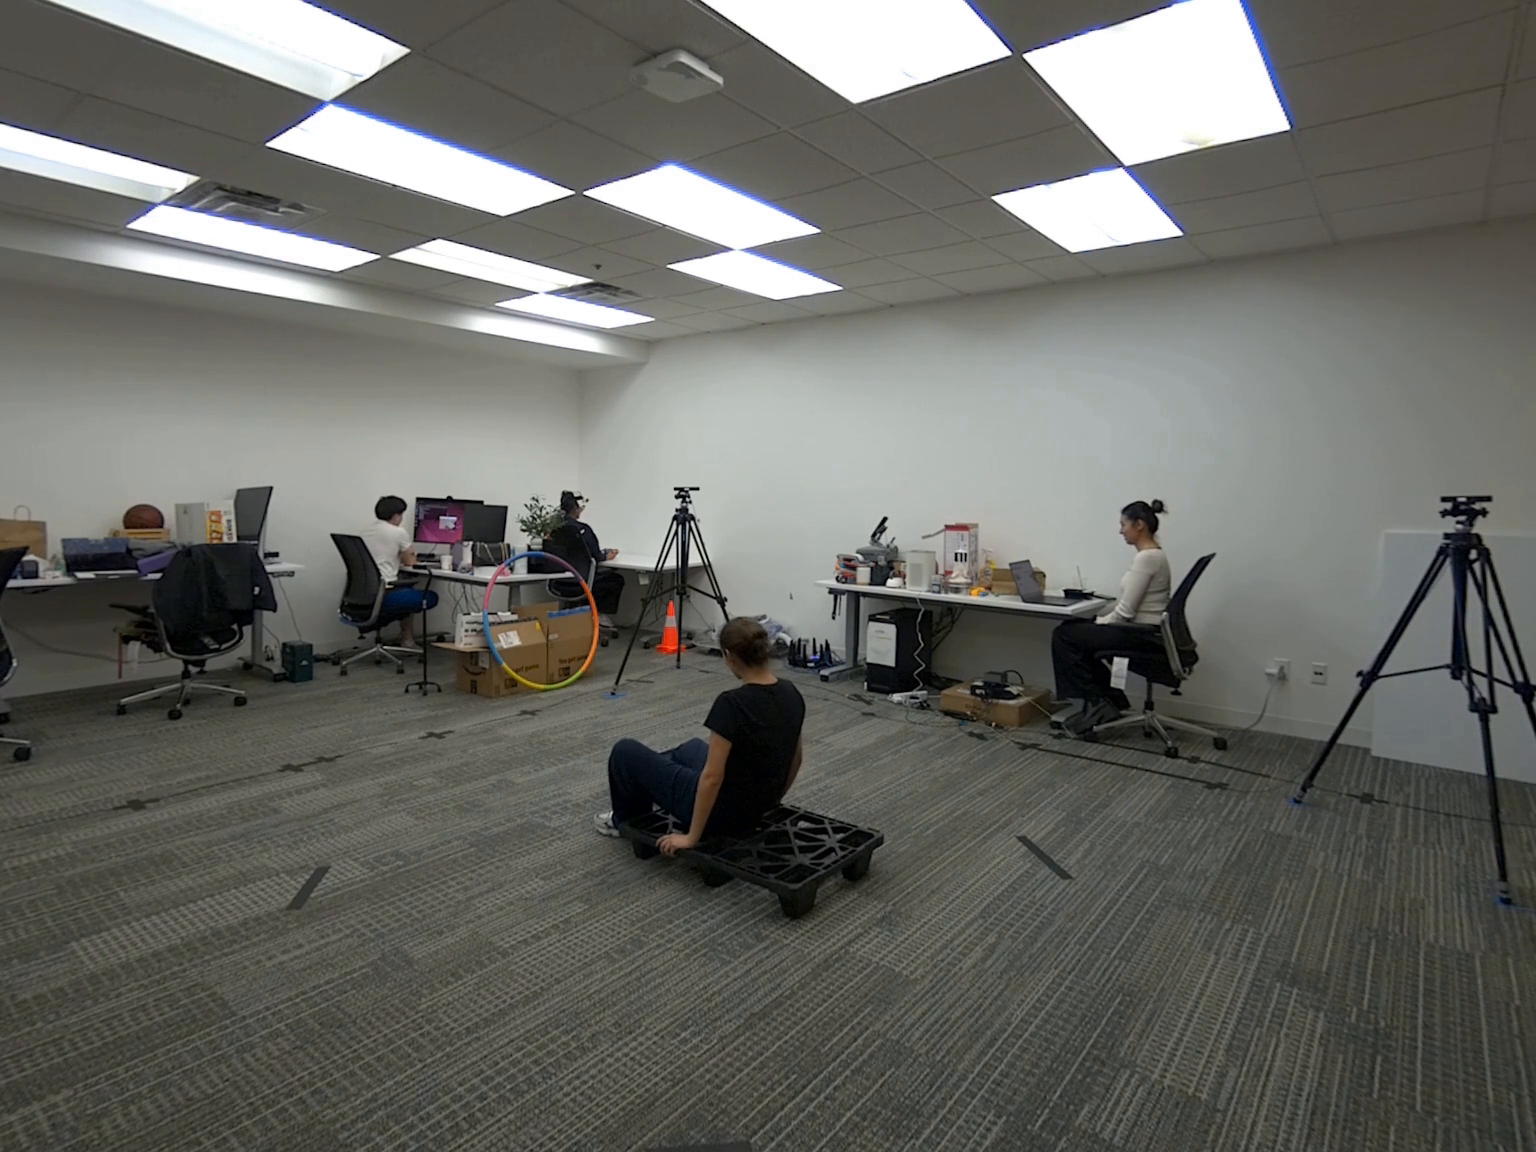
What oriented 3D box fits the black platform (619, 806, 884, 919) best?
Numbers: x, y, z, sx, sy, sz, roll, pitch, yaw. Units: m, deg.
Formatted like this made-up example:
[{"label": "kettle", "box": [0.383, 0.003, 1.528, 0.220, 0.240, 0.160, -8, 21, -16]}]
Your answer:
[{"label": "black platform", "box": [-0.050, 0.999, 3.159, 0.832, 0.143, 0.587, 5, 6, 38]}]
